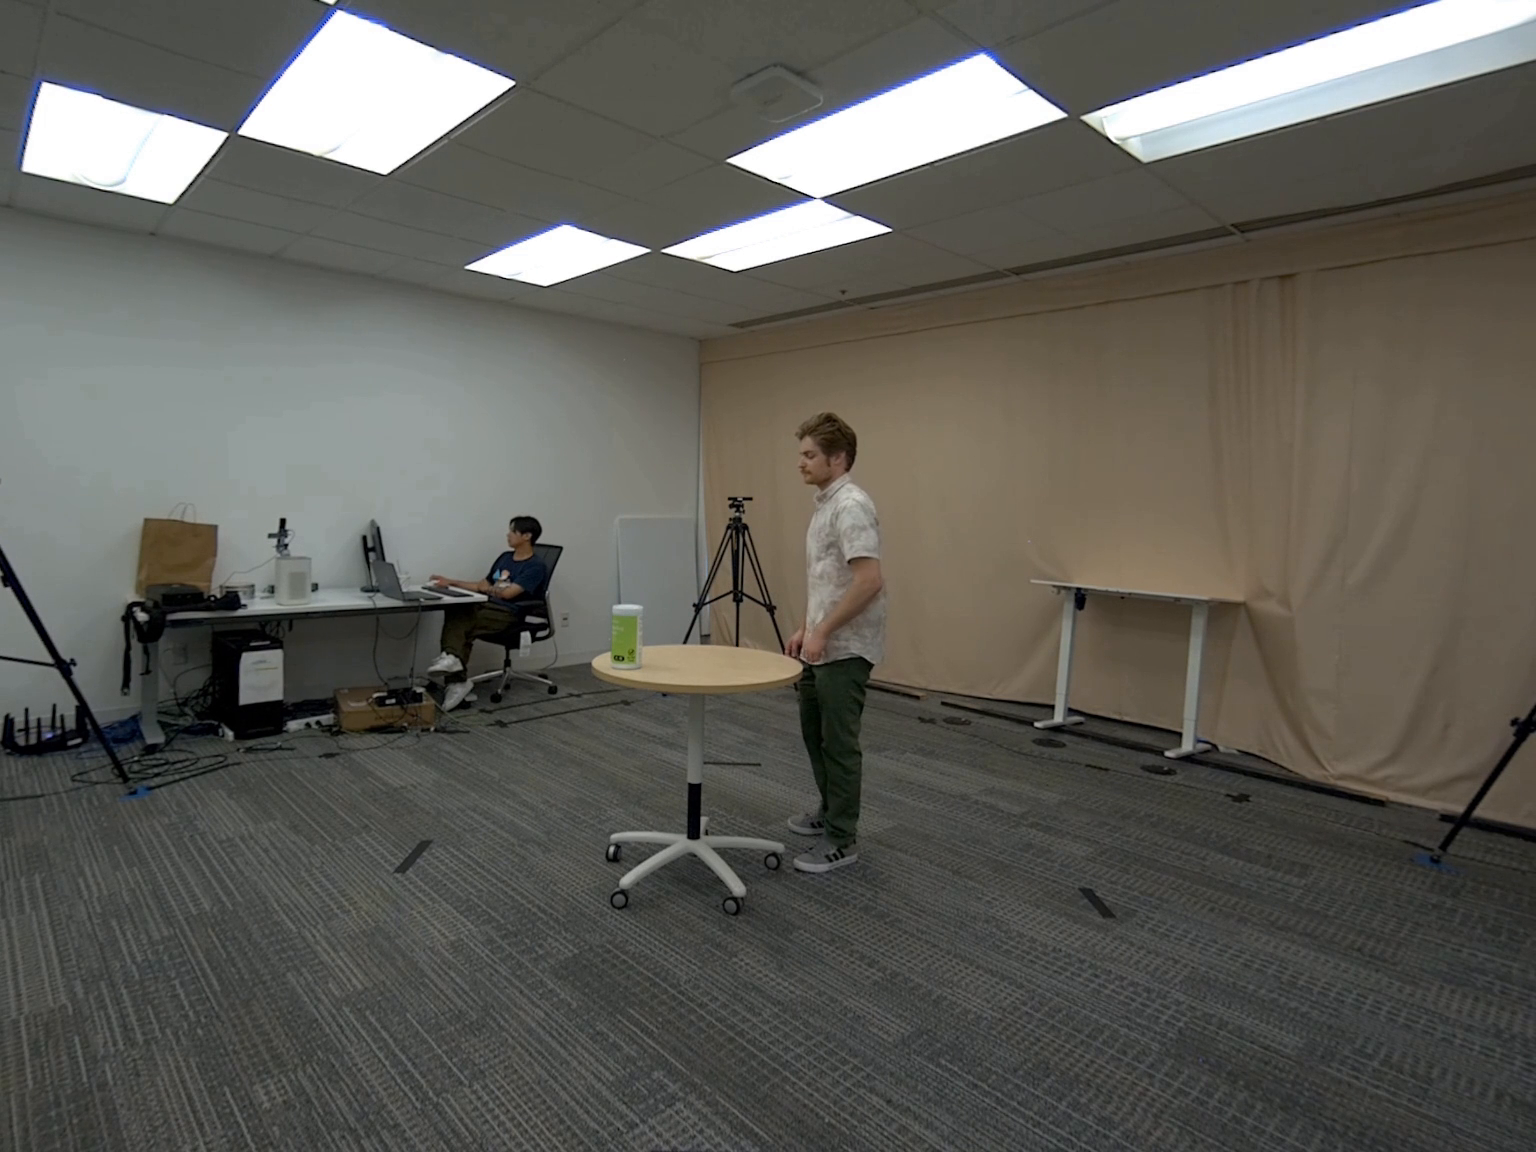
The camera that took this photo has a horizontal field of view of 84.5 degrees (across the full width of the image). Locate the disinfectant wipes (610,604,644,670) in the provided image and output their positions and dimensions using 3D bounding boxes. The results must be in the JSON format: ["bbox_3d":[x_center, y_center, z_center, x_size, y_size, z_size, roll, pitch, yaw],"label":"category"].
[{"bbox_3d":[-0.494,0.212,2.947,0.118,0.217,0.118,3,5,-2],"label":"disinfectant wipes"}]
